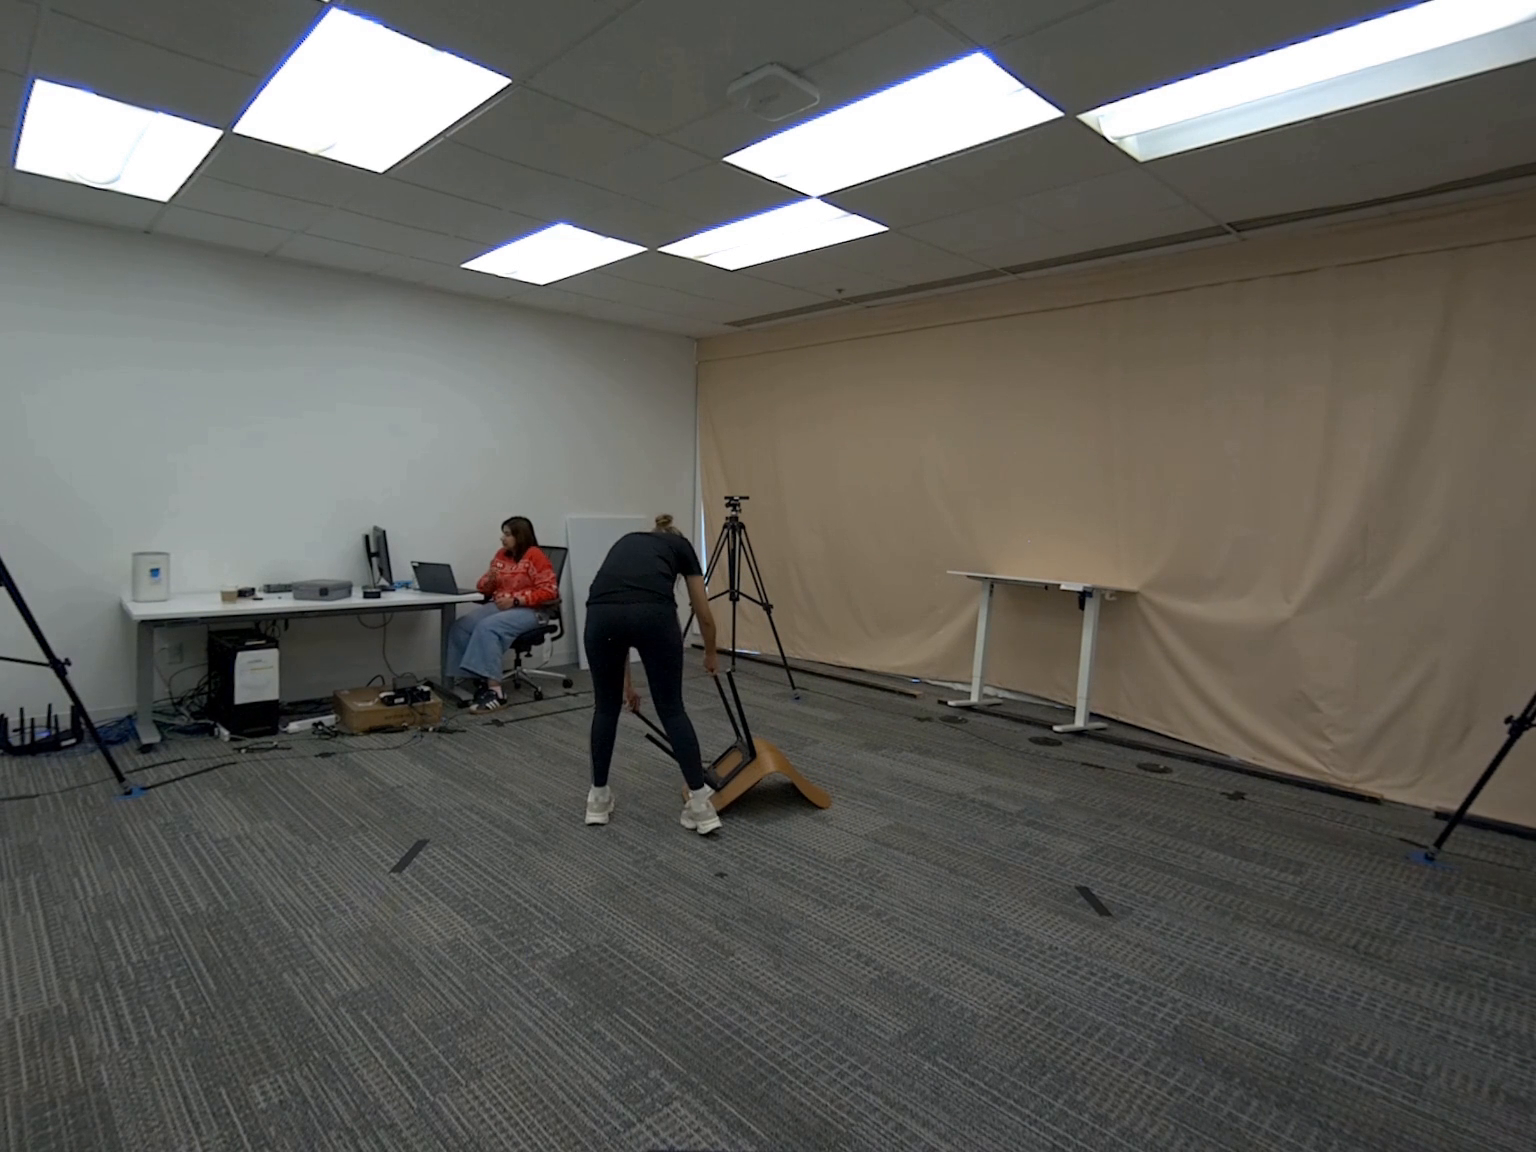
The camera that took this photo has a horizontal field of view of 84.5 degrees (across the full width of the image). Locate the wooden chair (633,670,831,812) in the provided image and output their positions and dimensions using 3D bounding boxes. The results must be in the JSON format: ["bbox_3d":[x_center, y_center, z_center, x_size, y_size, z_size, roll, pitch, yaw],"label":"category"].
[{"bbox_3d":[-0.189,0.864,3.877,0.522,0.866,0.485,-40,13,-9],"label":"wooden chair"}]
